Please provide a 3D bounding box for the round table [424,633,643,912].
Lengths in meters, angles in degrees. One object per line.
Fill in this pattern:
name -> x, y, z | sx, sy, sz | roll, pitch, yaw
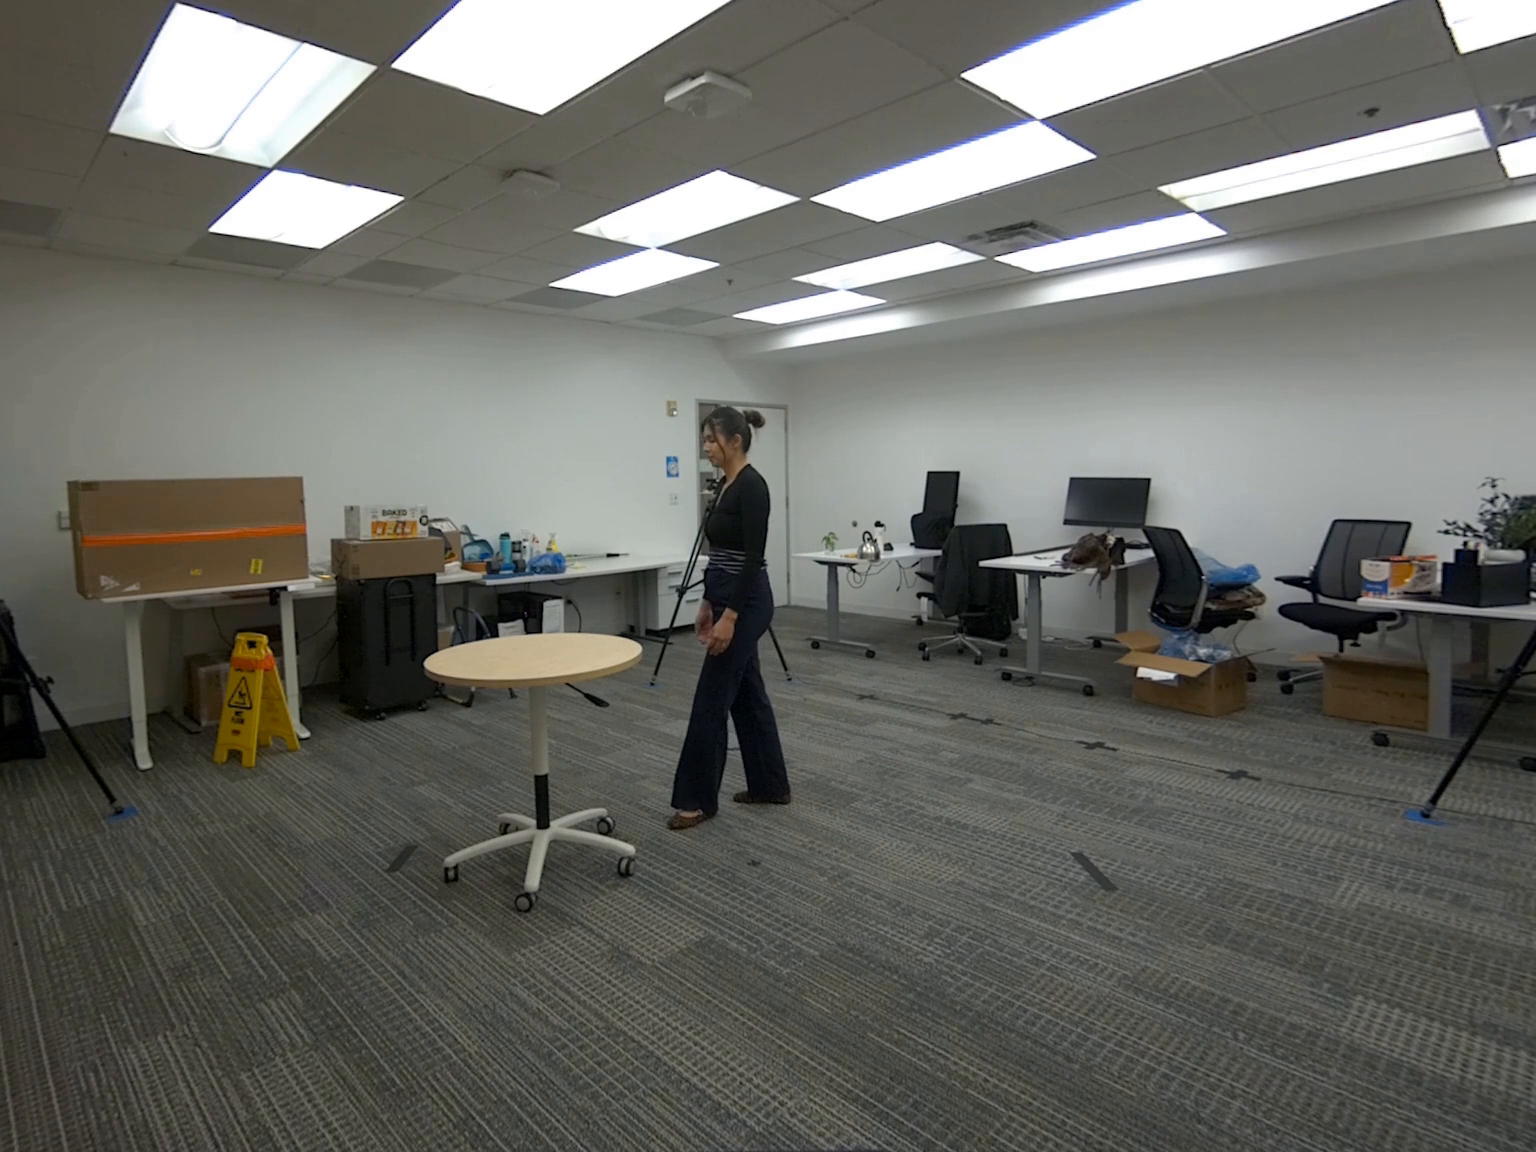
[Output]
round table -> -0.819, 0.669, 3.110 | 0.763, 0.791, 0.768 | -2, 5, -2
